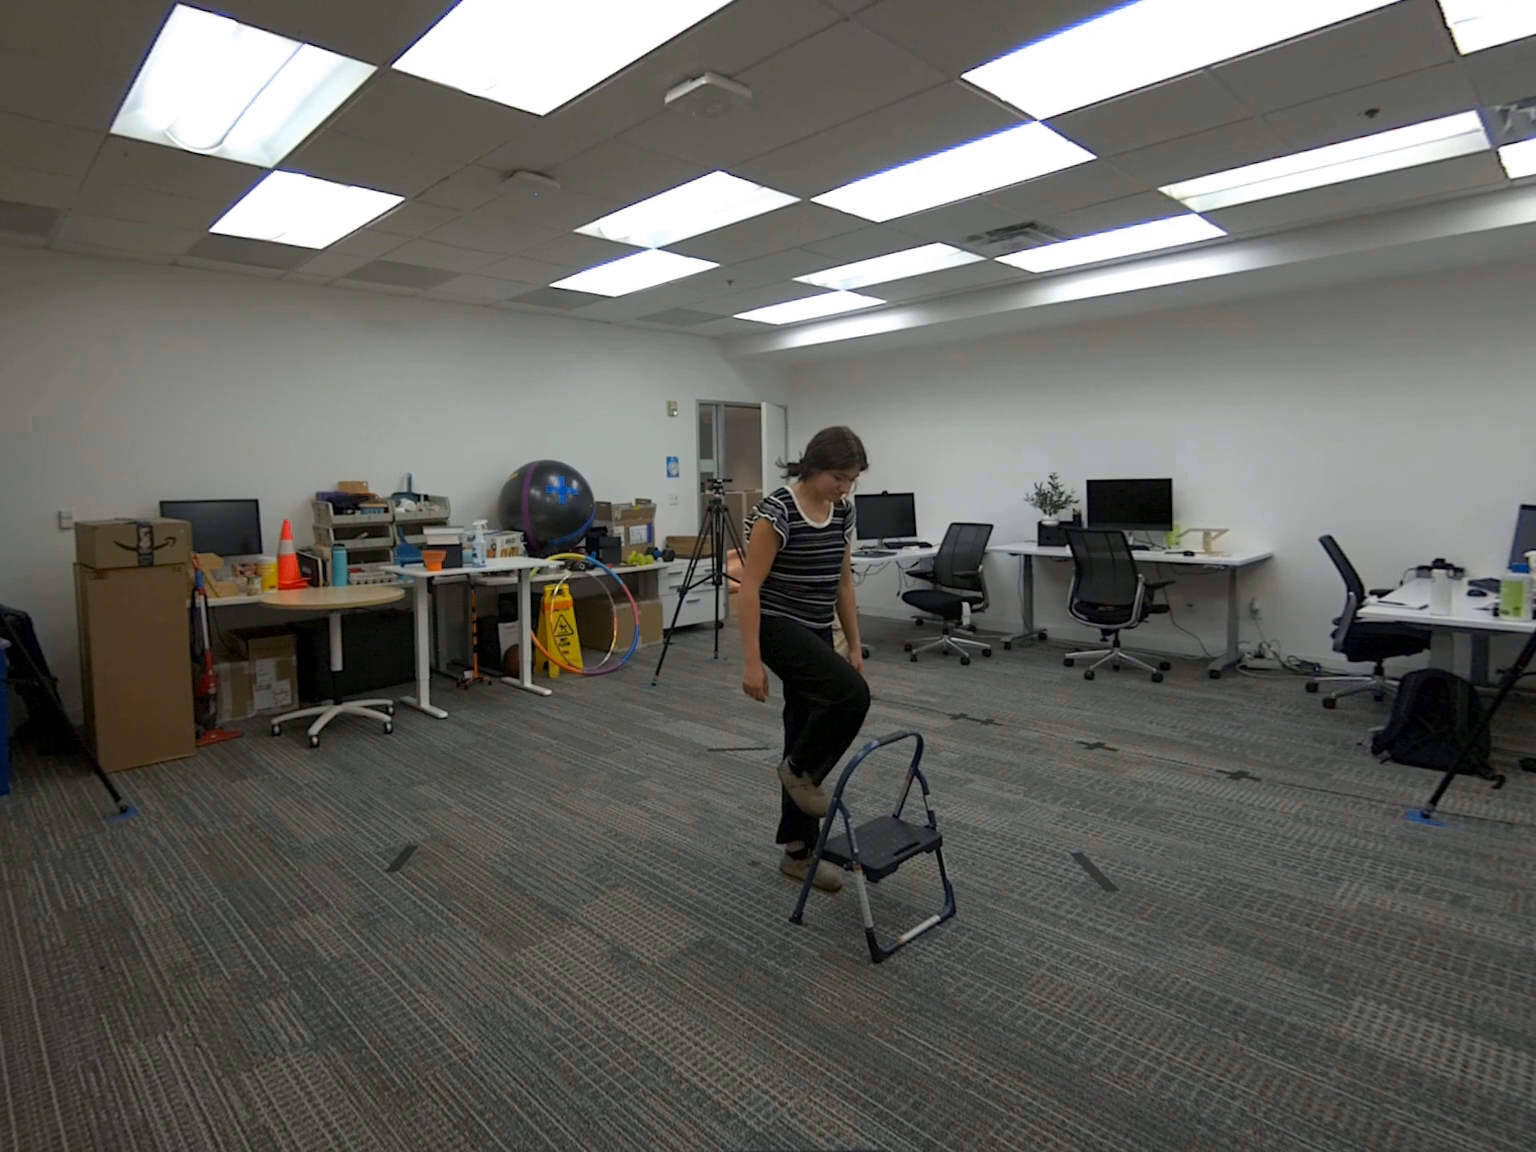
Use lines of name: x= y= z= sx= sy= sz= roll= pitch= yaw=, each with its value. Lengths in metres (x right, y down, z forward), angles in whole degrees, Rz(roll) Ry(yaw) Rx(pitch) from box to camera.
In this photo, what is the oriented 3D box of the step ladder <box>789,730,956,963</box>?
step ladder: x=0.335 y=0.784 z=2.690 sx=0.419 sy=0.604 sz=0.360 roll=-6 pitch=6 yaw=-45
